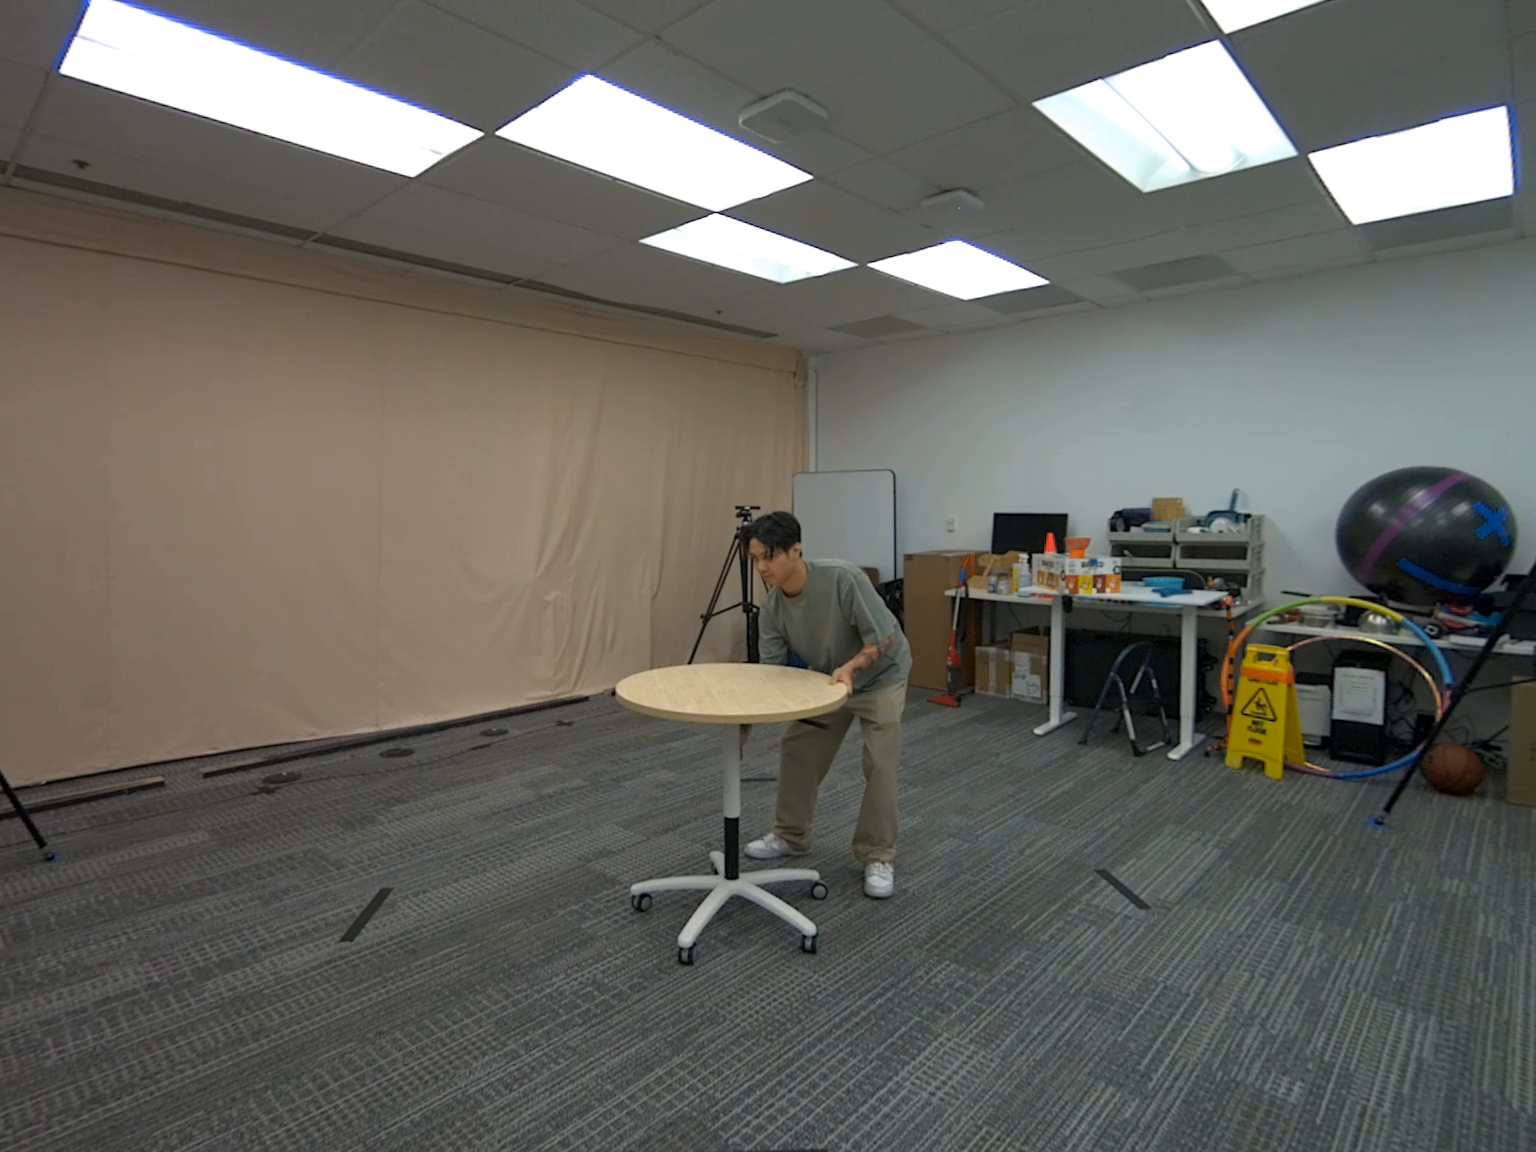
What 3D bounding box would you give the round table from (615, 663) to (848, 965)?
[{"bbox_3d":[-0.111,0.759,2.807,0.784,0.784,0.788,-1,4,-2],"label":"round table"}]
